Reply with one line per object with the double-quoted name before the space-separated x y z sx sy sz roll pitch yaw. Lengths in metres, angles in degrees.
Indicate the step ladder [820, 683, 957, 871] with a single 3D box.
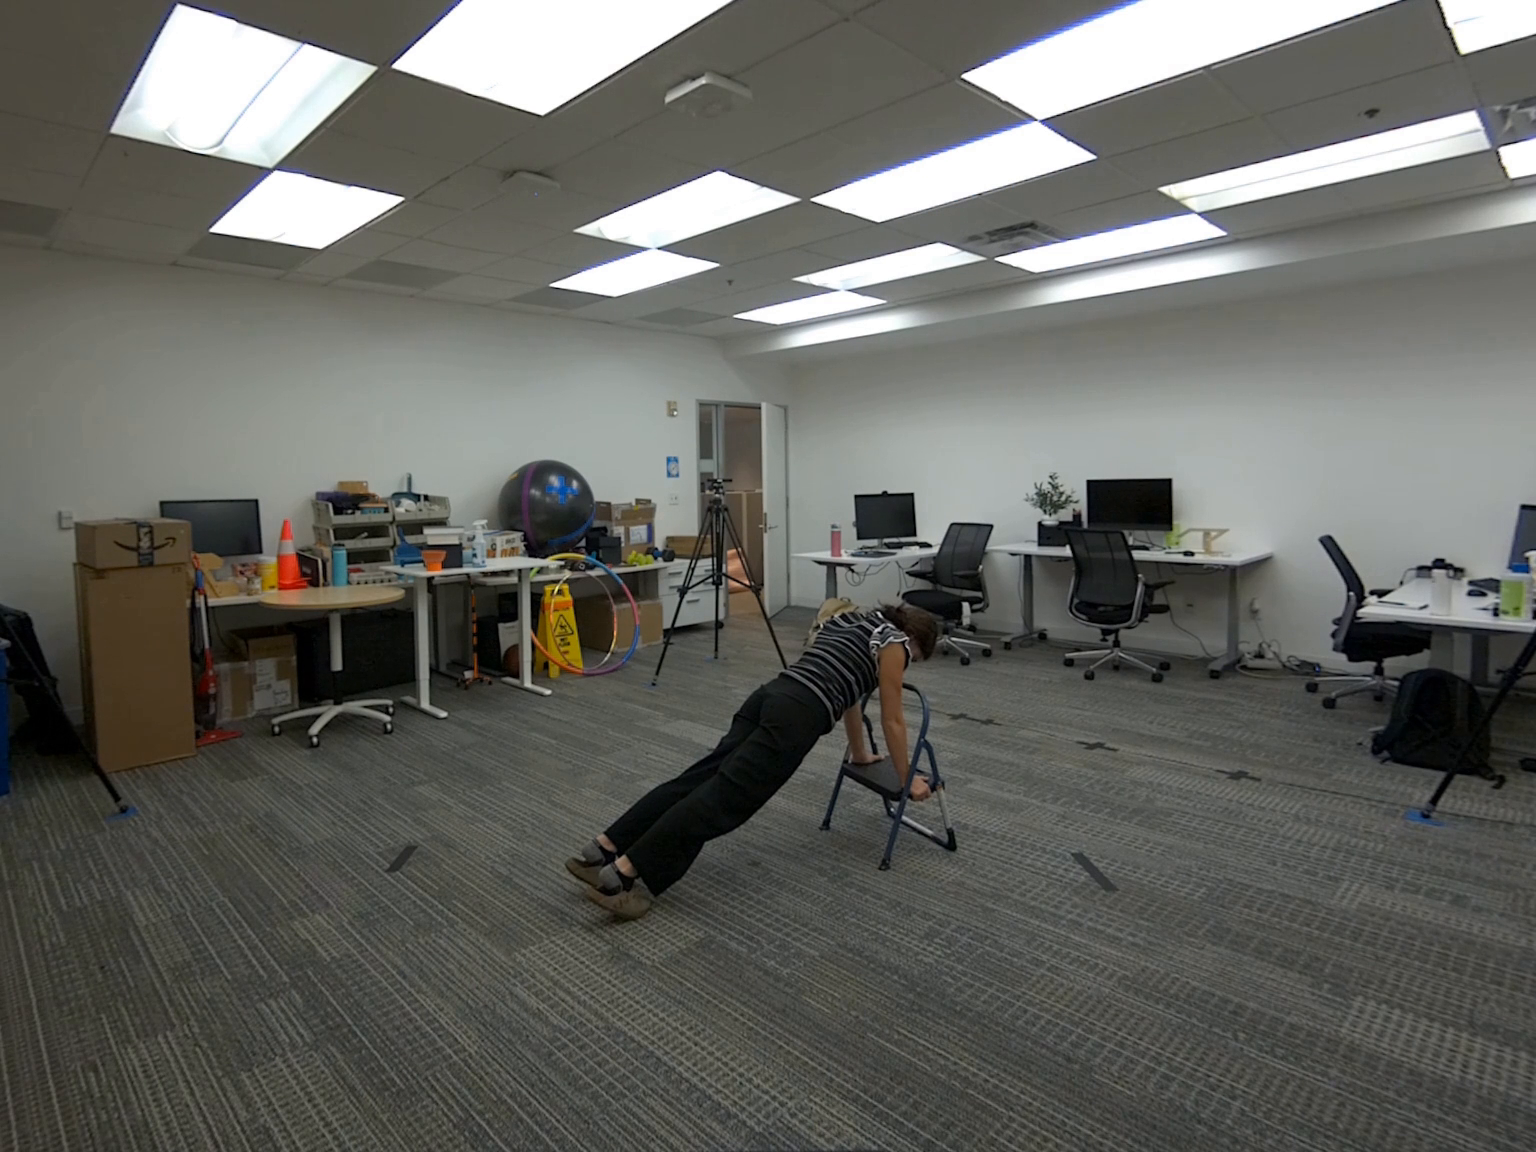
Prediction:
"step ladder" 0.456 0.716 3.280 0.341 0.604 0.442 -2 5 -28
